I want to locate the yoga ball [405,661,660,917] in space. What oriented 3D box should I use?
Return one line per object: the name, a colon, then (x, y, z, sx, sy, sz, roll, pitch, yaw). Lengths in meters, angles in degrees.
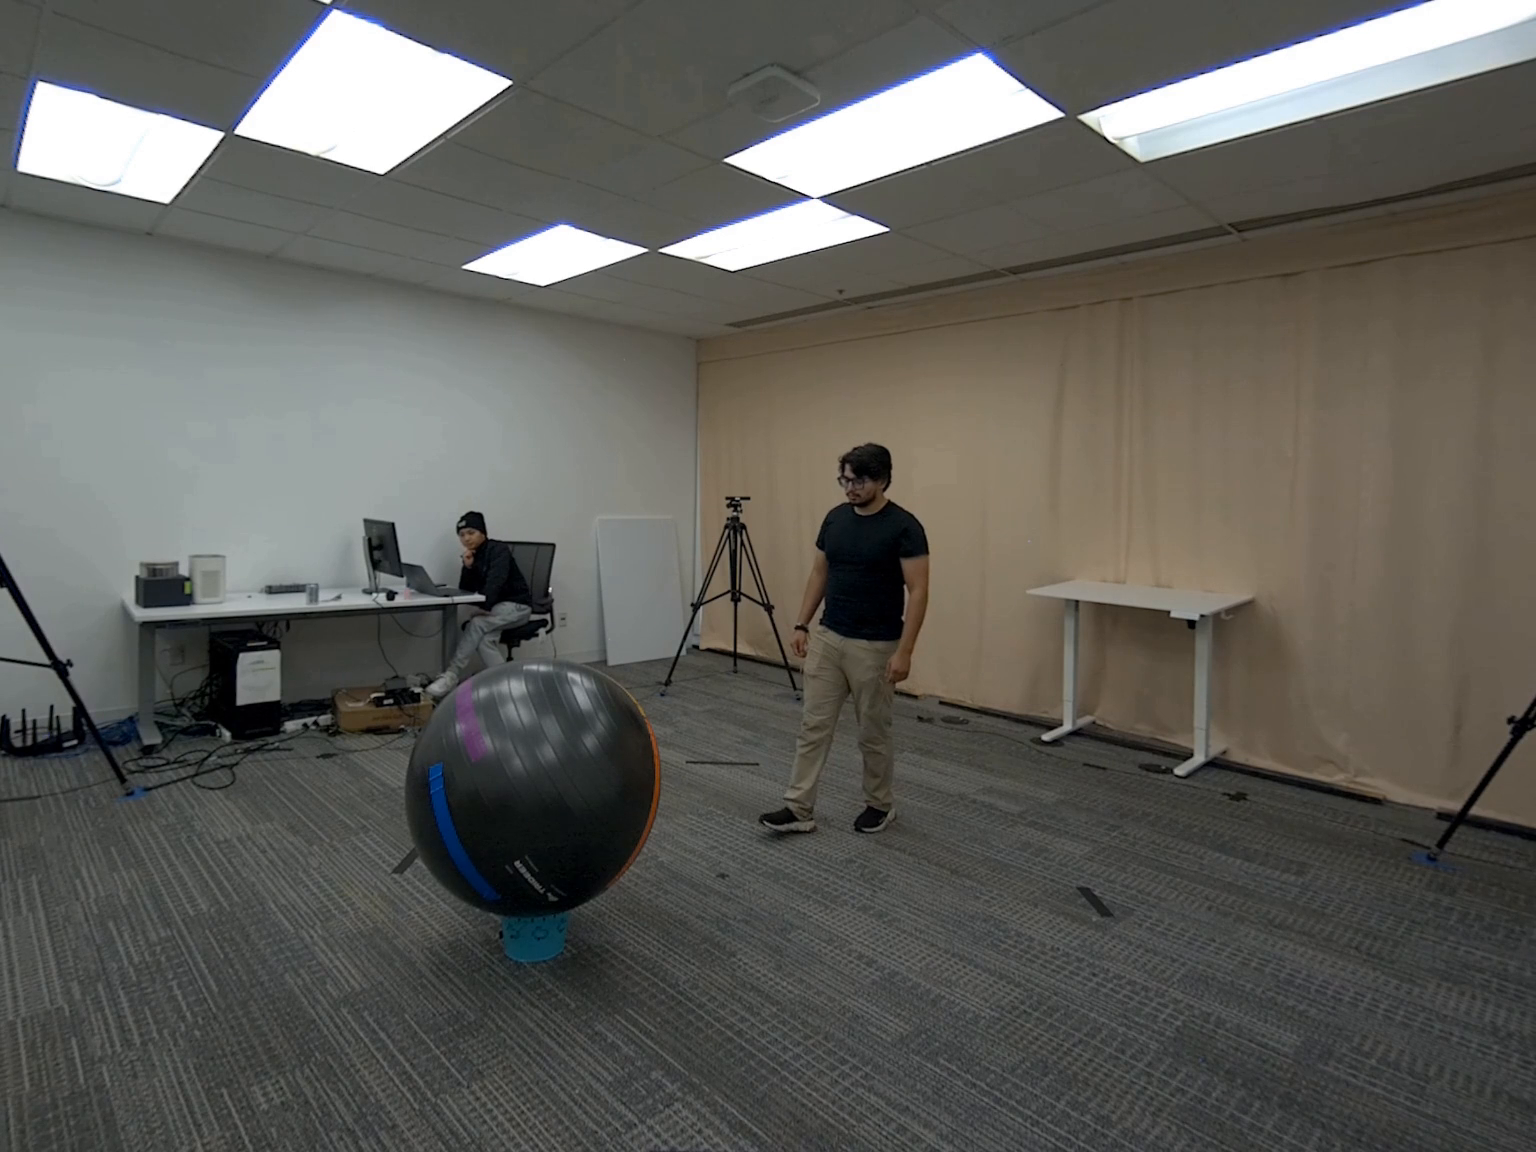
yoga ball: (-0.710, 0.636, 2.566, 0.757, 0.756, 0.761, 1, 4, -1)
